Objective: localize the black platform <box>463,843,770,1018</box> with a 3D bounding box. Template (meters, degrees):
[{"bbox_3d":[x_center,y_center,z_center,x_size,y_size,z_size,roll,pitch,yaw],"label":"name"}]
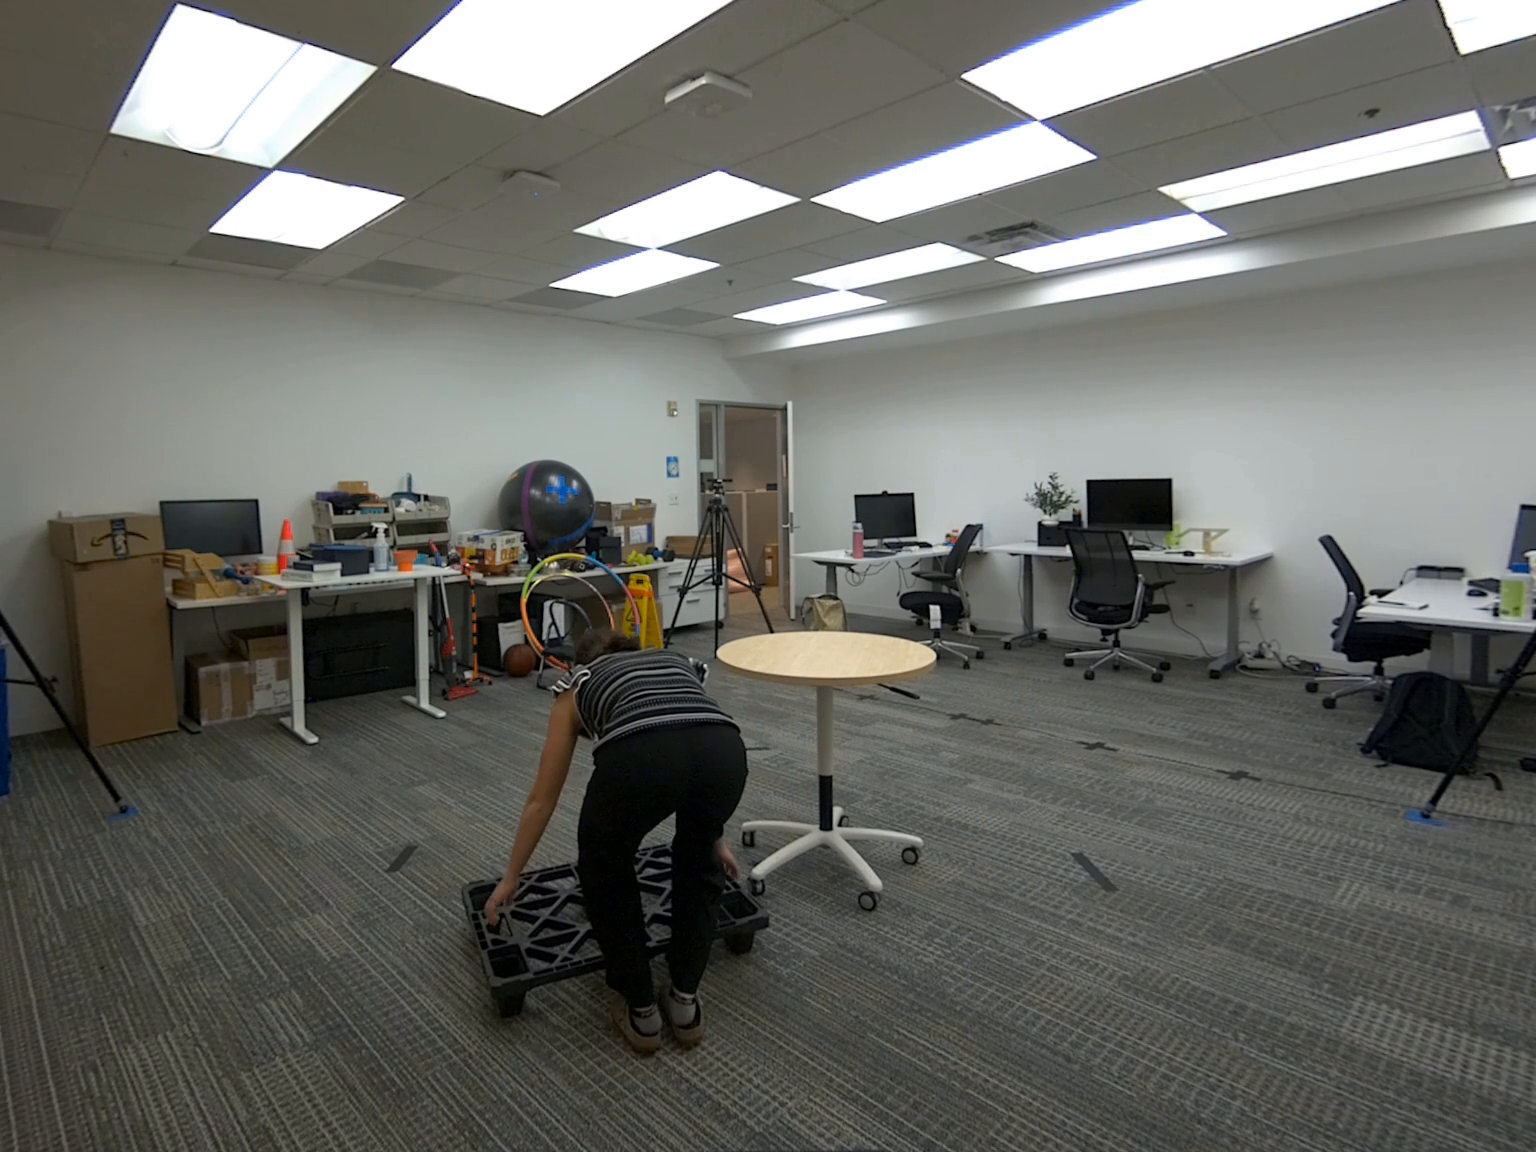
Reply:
[{"bbox_3d":[-0.476,1.047,2.592,0.789,0.143,0.620,-4,7,-25],"label":"black platform"}]
